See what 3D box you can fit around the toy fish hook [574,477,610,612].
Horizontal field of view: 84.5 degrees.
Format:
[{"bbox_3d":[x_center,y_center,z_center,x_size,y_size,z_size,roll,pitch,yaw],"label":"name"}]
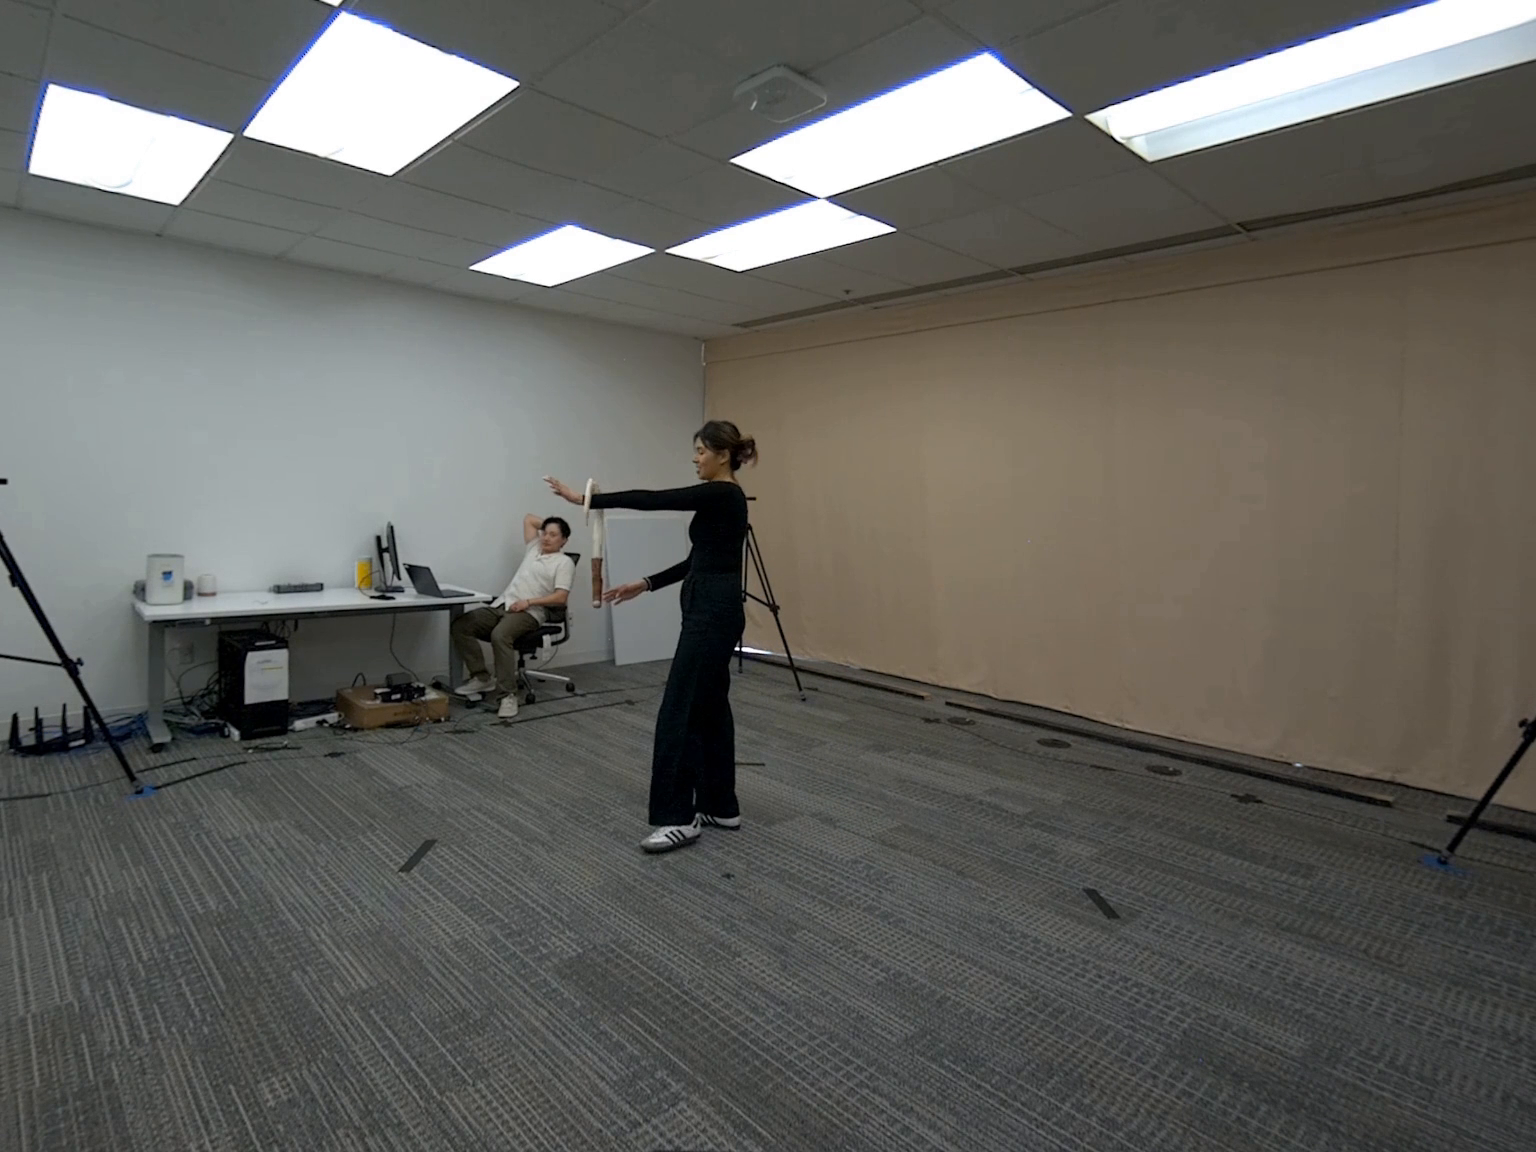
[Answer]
[{"bbox_3d":[-0.695,-0.119,3.341,0.049,0.509,0.221,-4,-7,9],"label":"toy fish hook"}]
